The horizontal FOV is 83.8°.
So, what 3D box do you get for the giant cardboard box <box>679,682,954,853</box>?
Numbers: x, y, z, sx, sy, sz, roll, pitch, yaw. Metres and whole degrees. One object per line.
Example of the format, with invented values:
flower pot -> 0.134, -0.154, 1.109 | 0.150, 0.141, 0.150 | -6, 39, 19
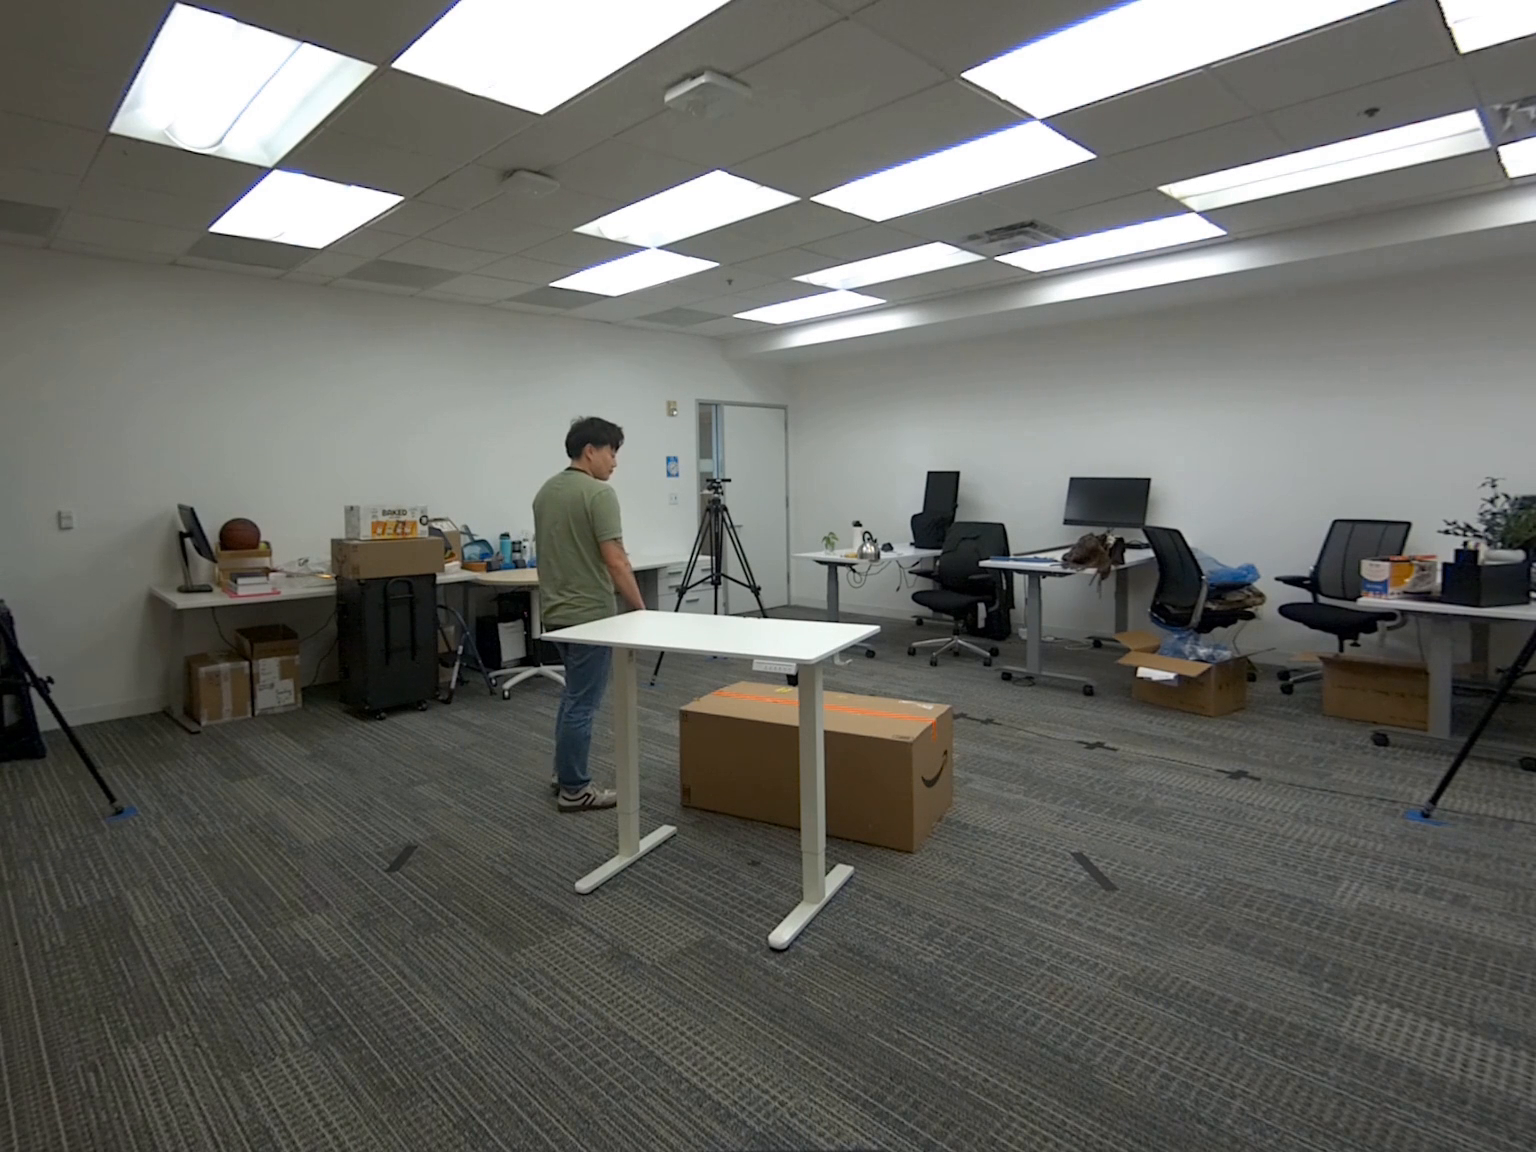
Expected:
giant cardboard box -> 0.203, 0.765, 3.640 | 1.052, 0.425, 0.565 | 2, 5, 29
